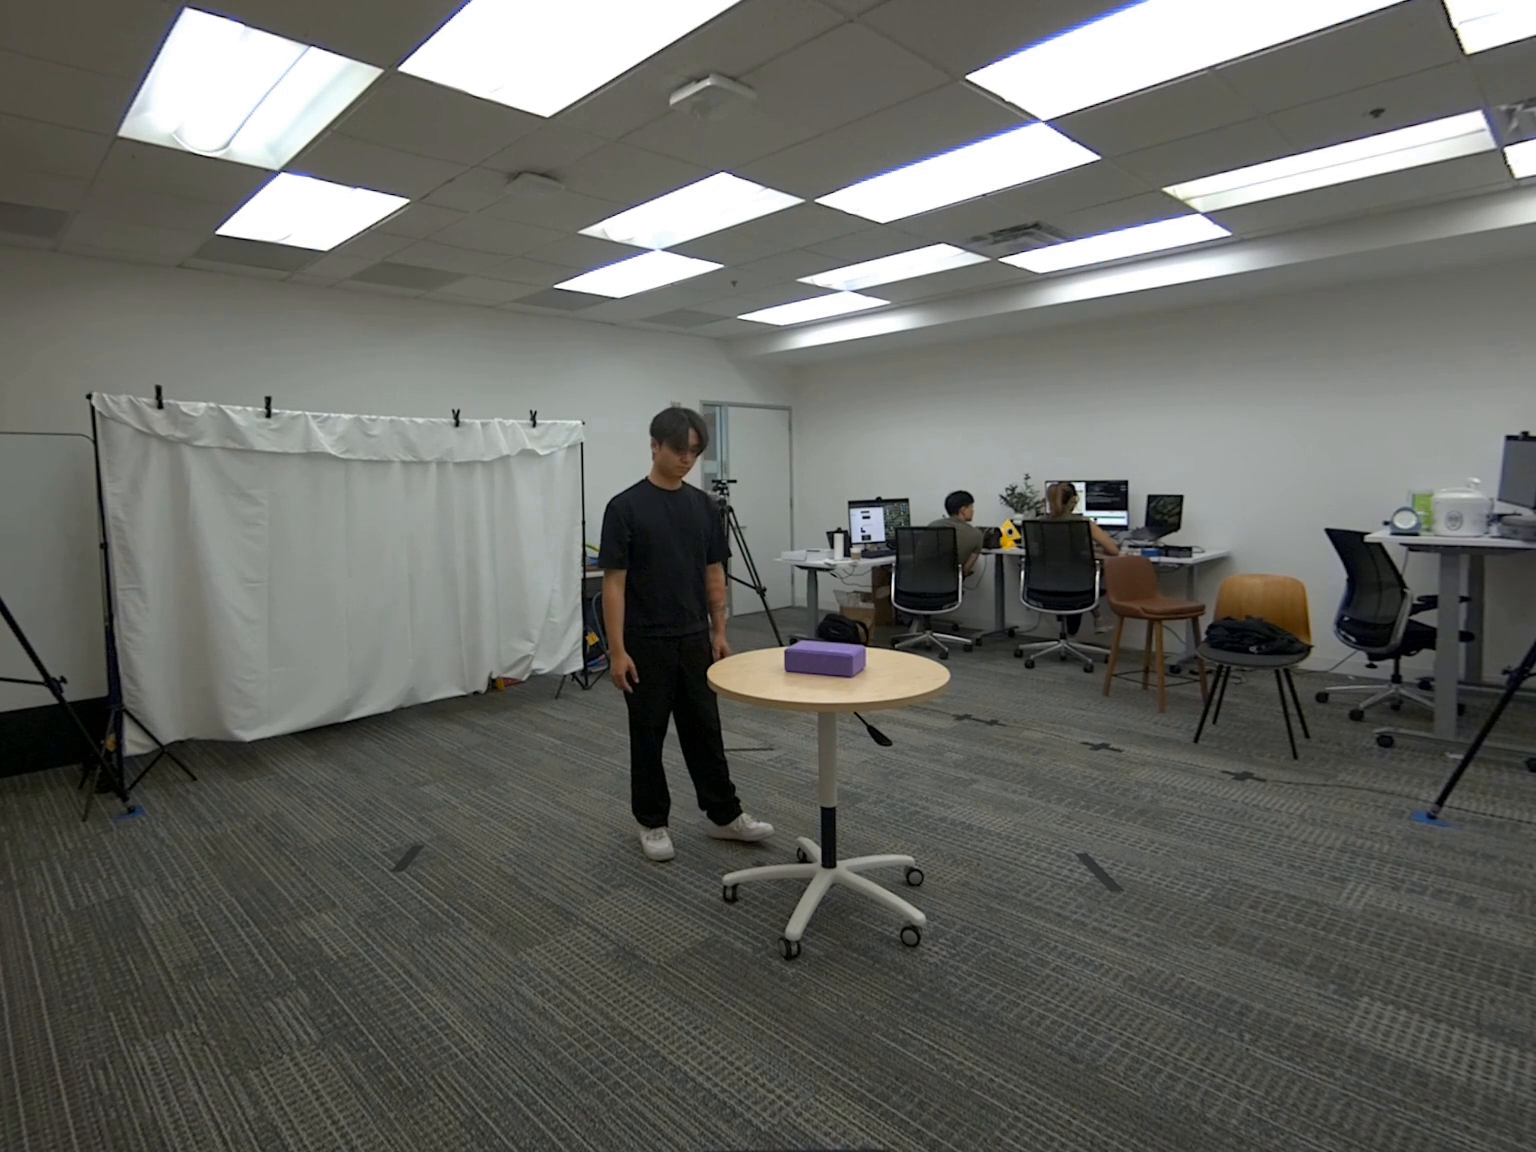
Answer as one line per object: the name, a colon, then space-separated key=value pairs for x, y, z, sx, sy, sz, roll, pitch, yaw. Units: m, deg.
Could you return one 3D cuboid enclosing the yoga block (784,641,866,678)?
yoga block: x=0.187 y=0.264 z=2.729 sx=0.235 sy=0.076 sz=0.146 roll=2 pitch=7 yaw=25
